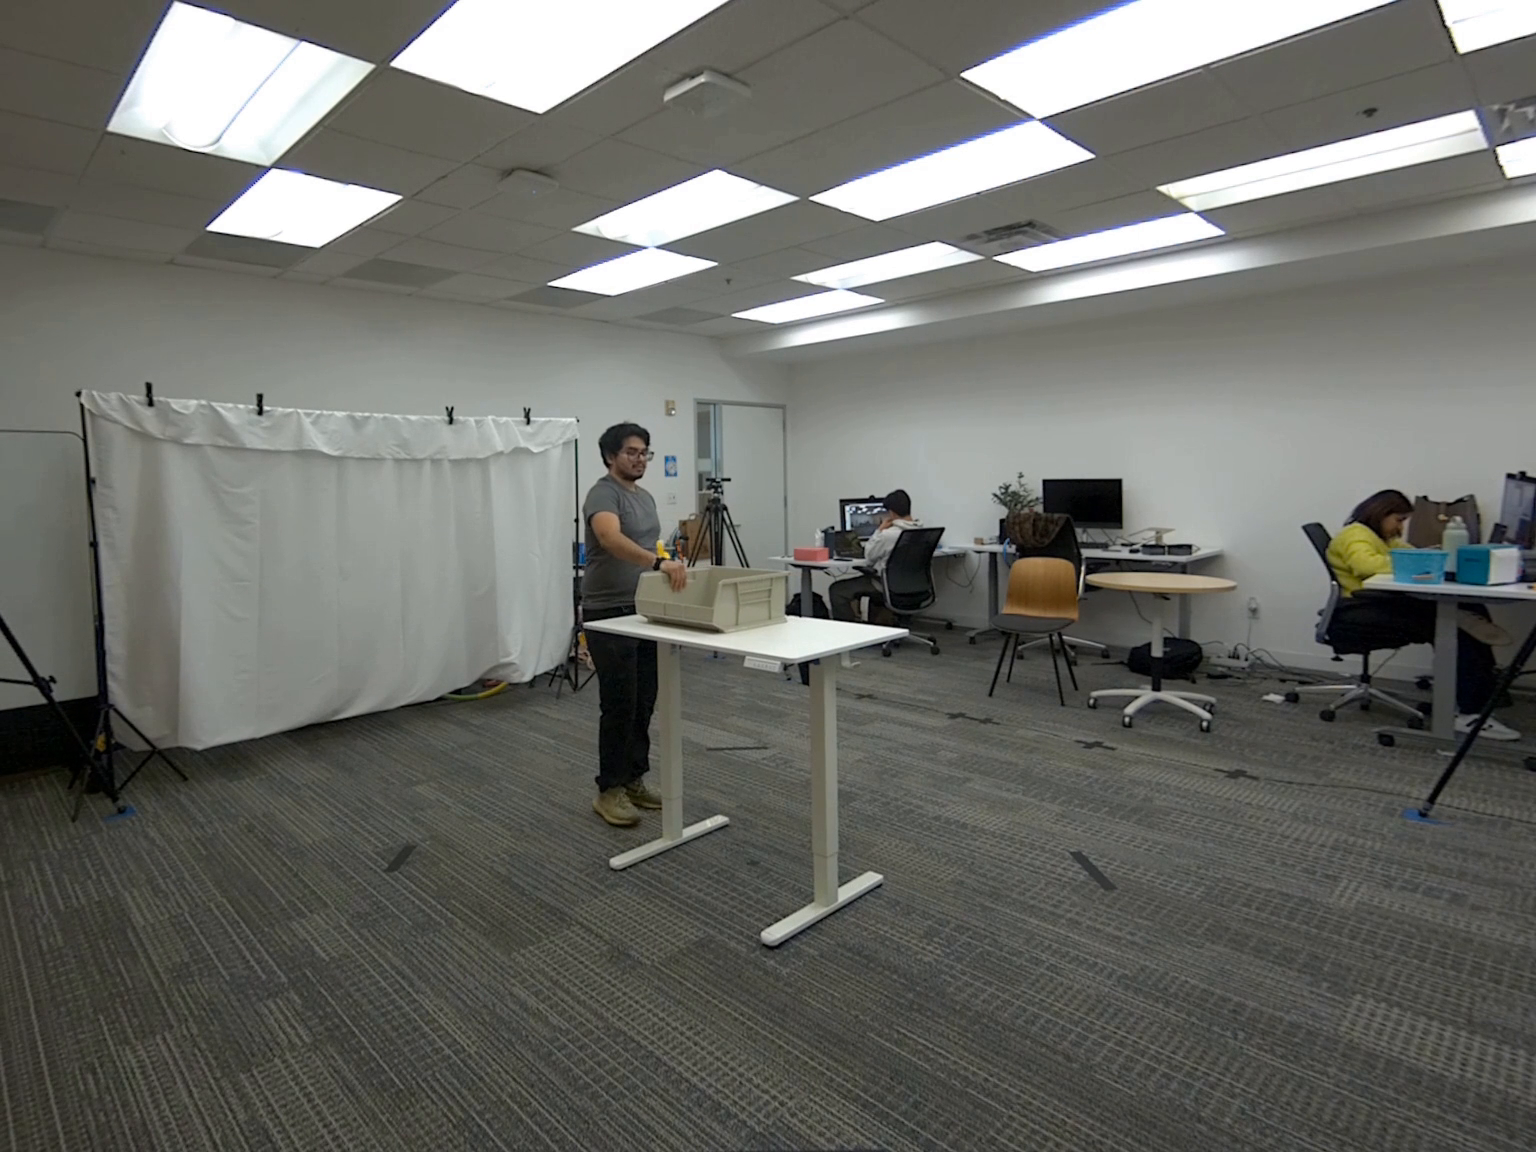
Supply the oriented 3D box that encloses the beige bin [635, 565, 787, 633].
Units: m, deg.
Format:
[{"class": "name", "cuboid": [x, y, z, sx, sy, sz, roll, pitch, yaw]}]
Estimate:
[{"class": "beige bin", "cuboid": [-0.198, 0.078, 3.061, 0.435, 0.188, 0.367, 4, 6, 45]}]
